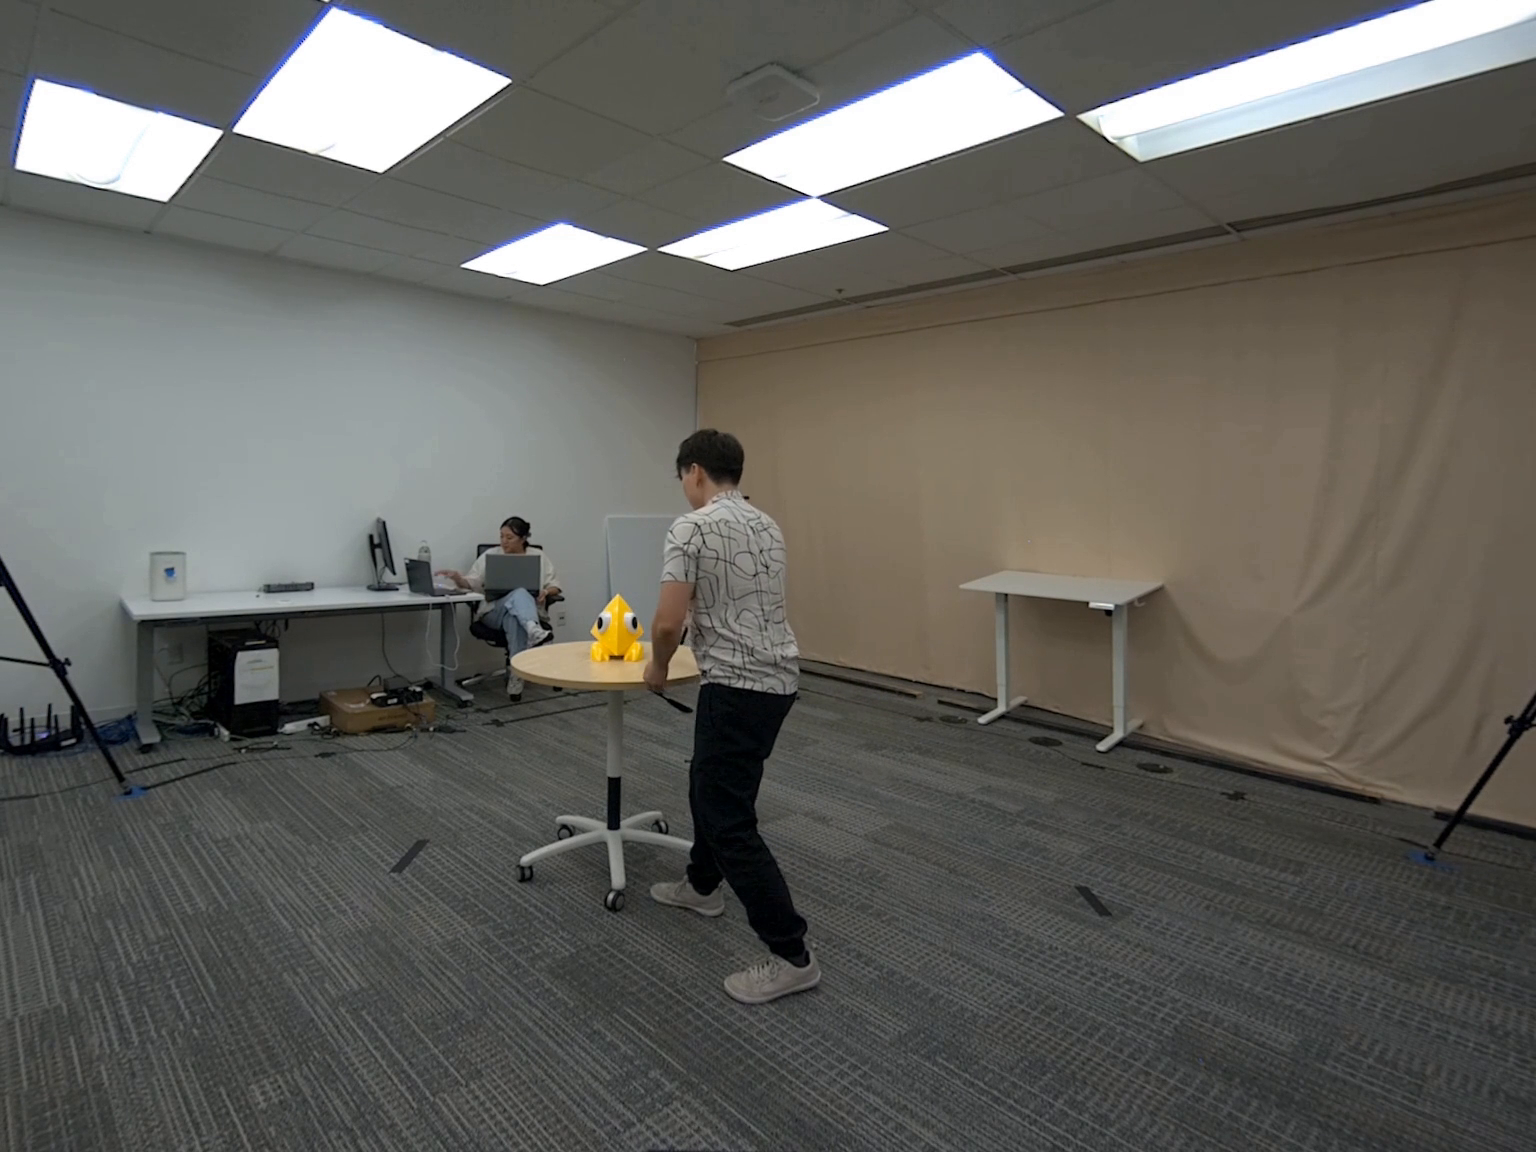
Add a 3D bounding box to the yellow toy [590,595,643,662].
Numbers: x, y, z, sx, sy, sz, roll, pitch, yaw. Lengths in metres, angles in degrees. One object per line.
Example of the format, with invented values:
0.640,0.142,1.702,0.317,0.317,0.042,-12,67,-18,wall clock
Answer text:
-0.571,0.190,3.161,0.203,0.230,0.195,2,4,-9,yellow toy
